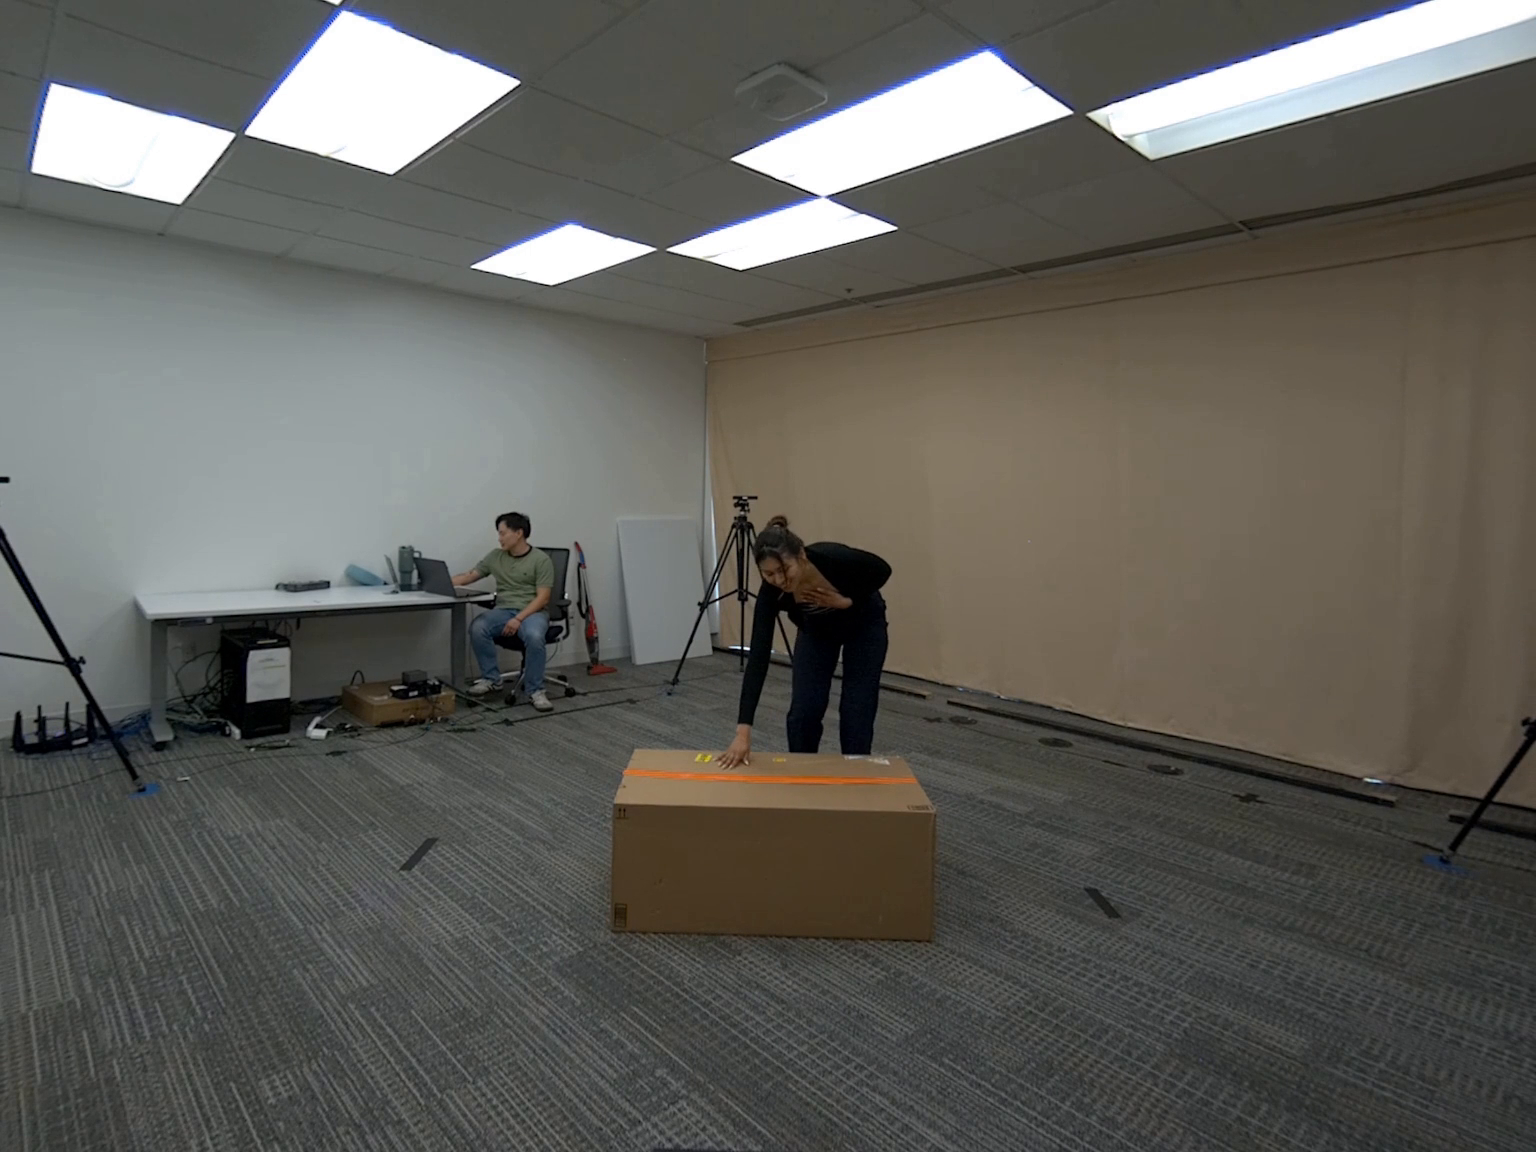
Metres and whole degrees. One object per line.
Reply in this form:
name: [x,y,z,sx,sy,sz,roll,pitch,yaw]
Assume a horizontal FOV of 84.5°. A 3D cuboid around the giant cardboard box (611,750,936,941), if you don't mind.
giant cardboard box: [-0.001,0.908,2.933,1.026,0.425,0.579,1,4,0]
